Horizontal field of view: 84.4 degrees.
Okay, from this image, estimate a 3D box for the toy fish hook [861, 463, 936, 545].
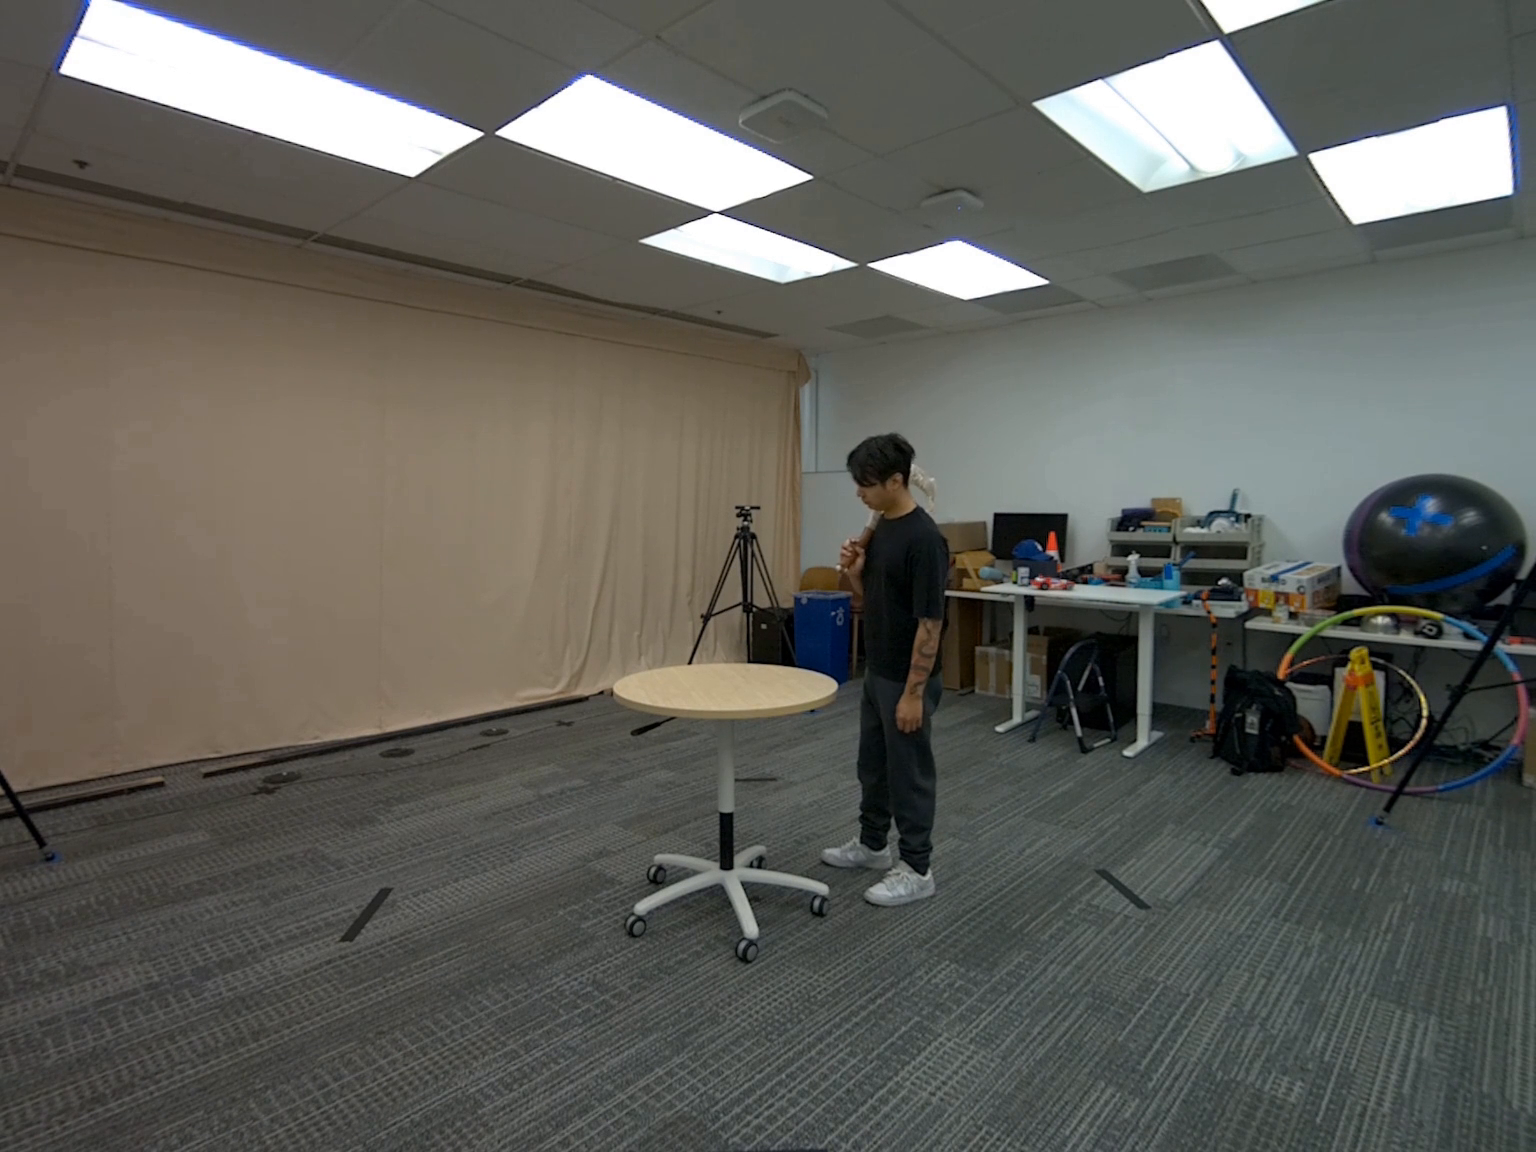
[{"bbox_3d":[0.442,-0.183,3.041,0.225,0.506,0.048,35,-11,2],"label":"toy fish hook"}]
